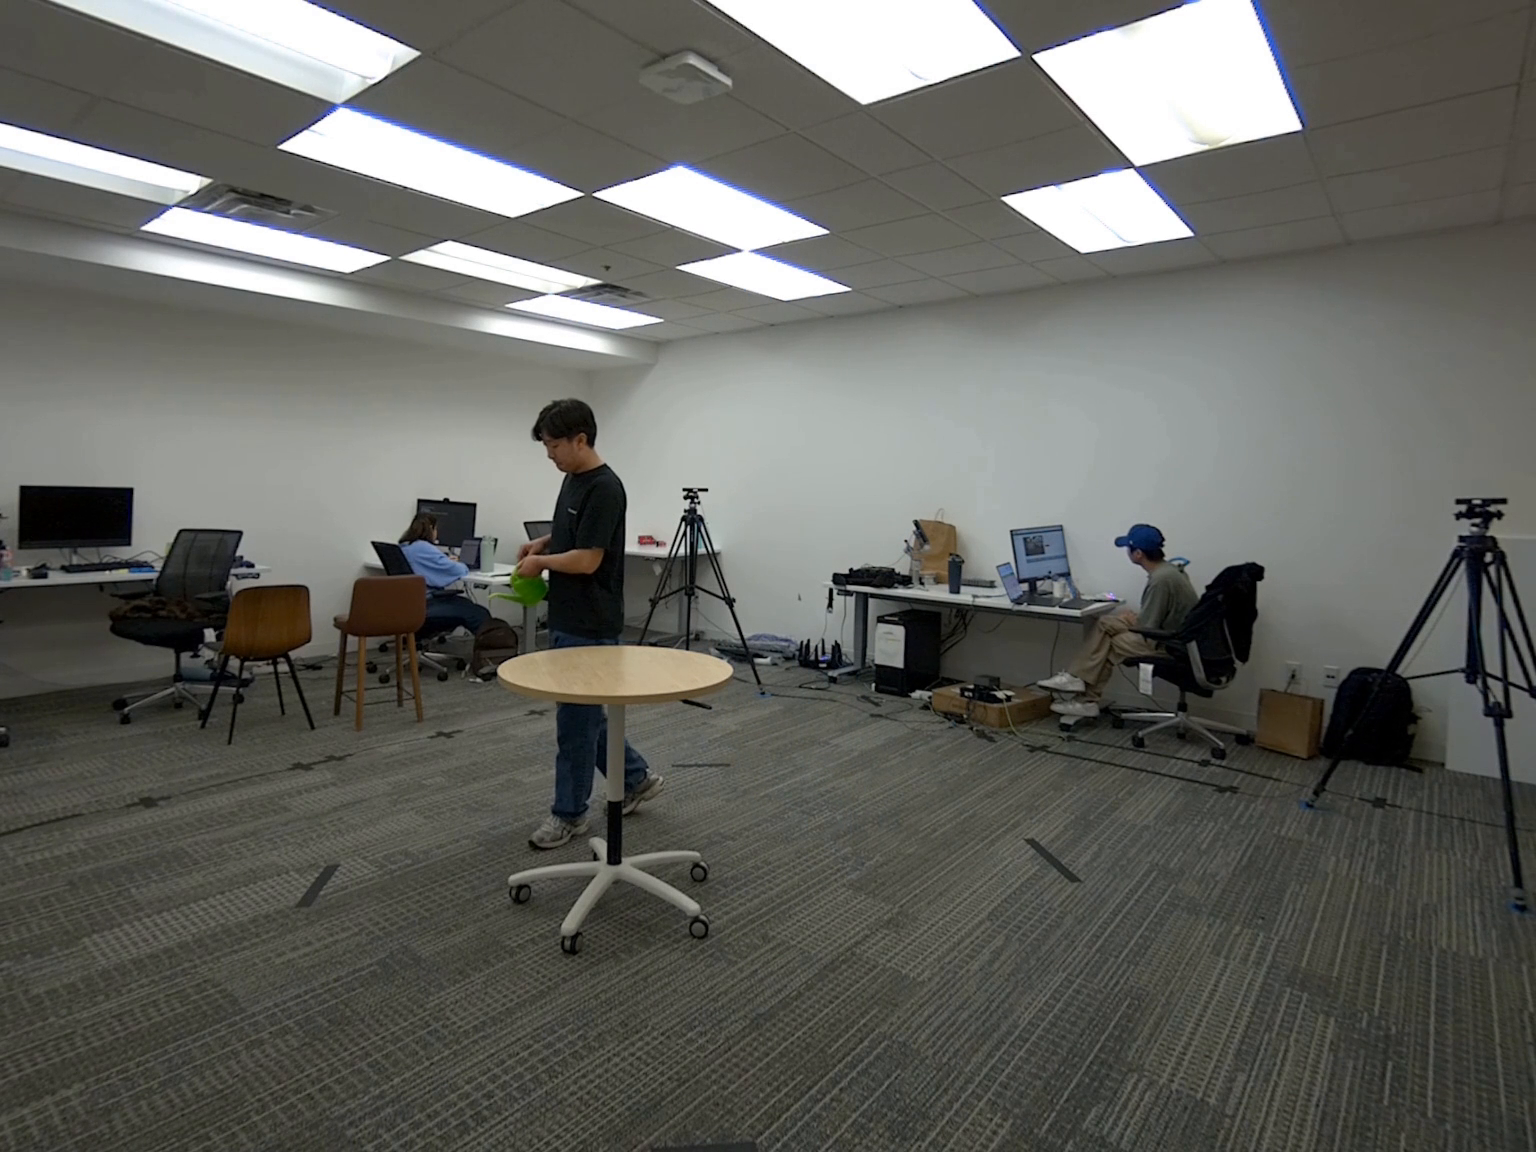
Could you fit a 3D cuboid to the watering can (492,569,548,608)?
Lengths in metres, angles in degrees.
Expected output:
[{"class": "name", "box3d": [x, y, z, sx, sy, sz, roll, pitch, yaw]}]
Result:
[{"class": "watering can", "box3d": [-1.012, 0.047, 3.413, 0.102, 0.170, 0.277, 25, 57, 41]}]
